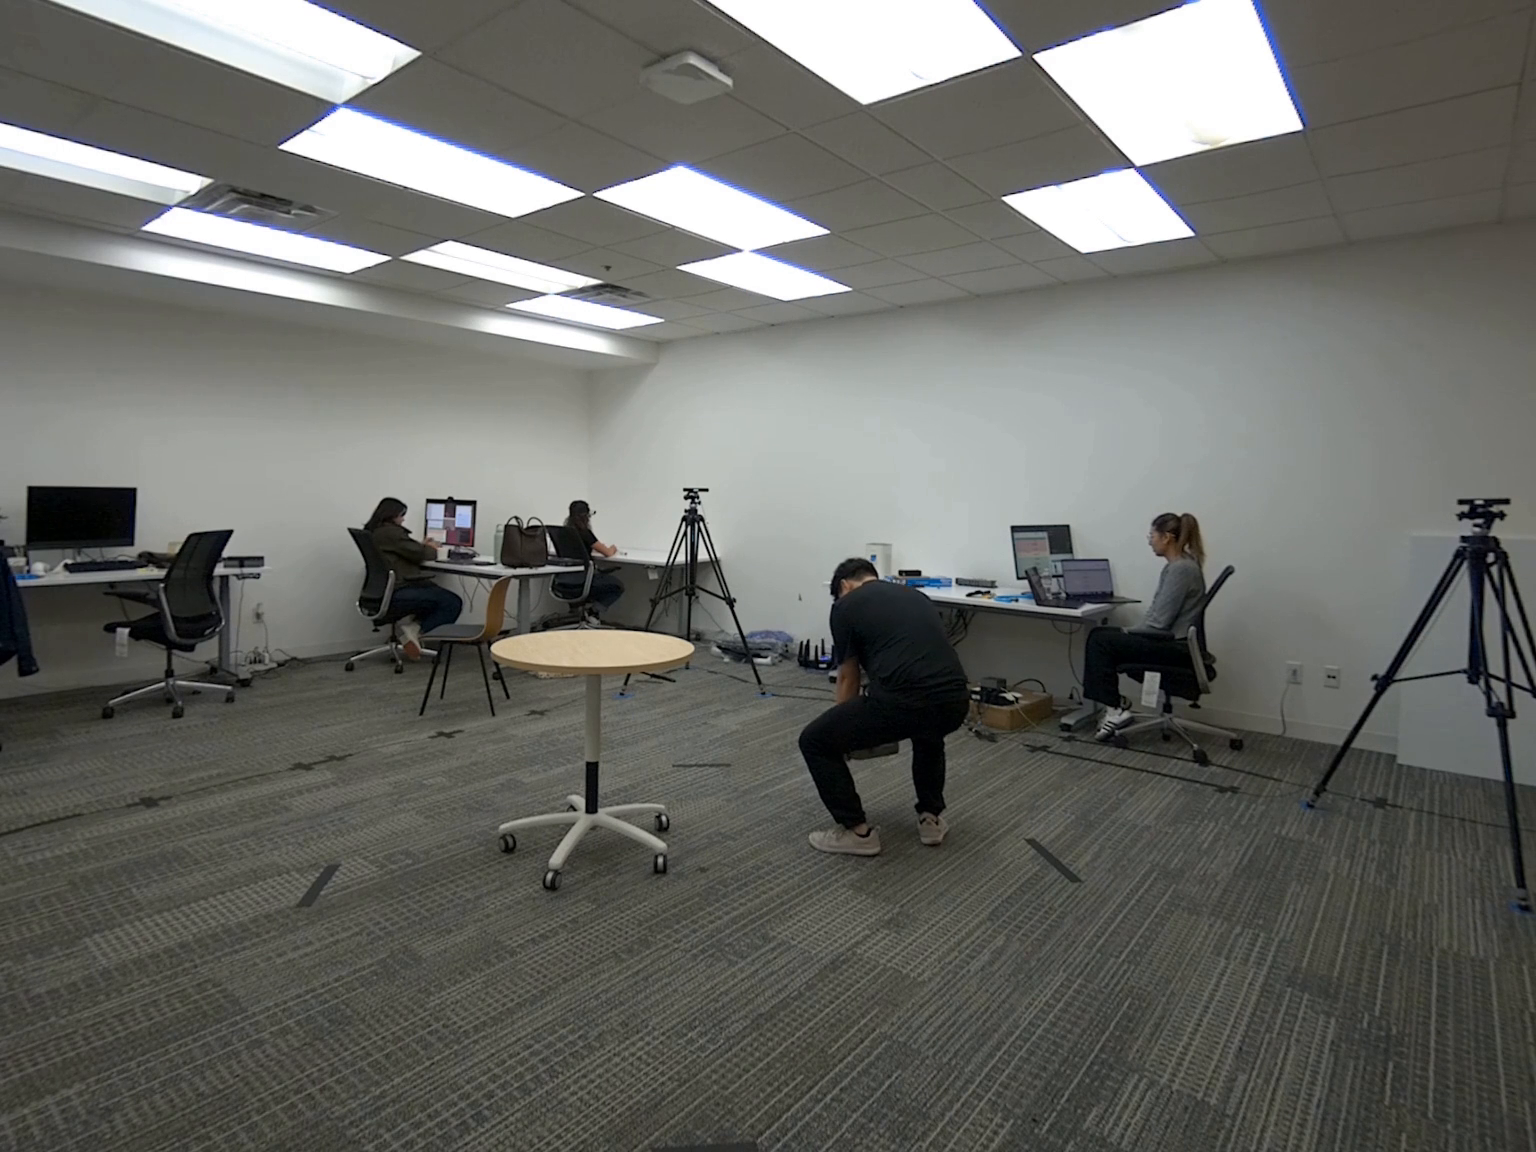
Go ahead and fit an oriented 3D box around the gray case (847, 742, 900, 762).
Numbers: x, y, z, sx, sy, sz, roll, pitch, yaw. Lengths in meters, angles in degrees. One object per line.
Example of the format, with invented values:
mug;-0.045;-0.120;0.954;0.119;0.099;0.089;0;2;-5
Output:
gray case;0.389;0.711;3.655;0.249;0.105;0.267;0;-3;-35
